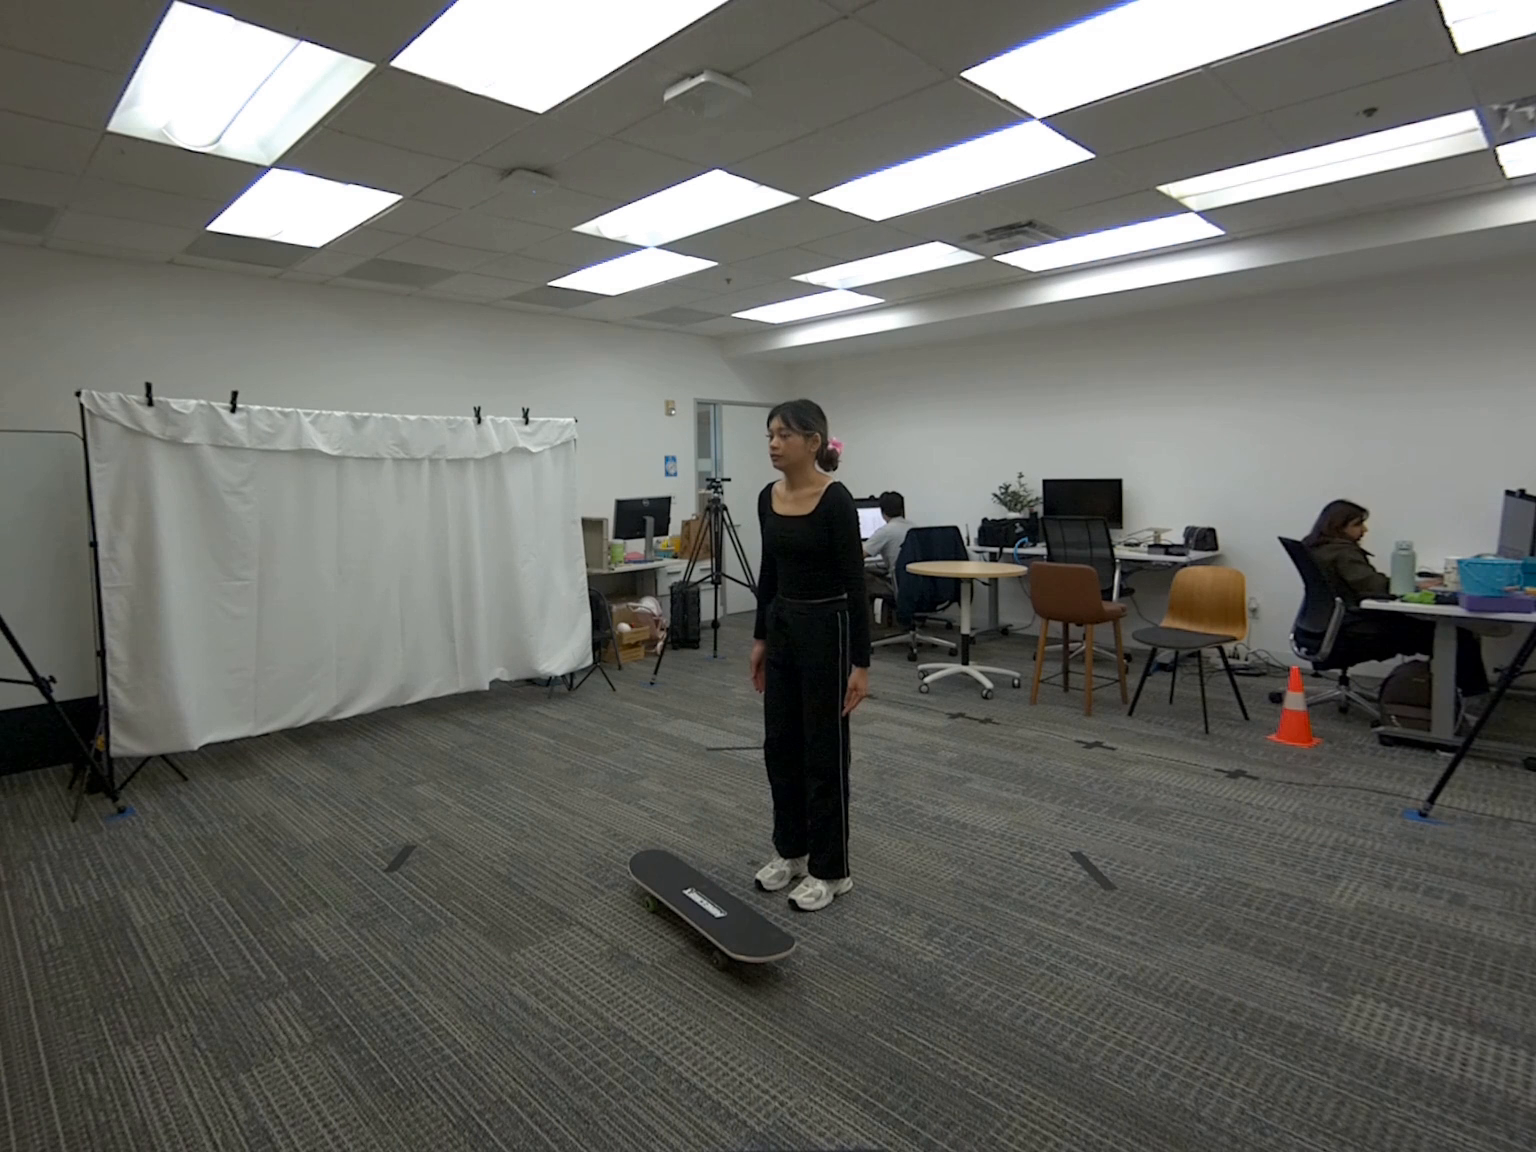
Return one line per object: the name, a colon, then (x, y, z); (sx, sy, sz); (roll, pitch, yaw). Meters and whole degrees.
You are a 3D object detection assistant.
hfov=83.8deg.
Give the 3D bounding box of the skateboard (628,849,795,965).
skateboard: (-0.191, 1.046, 2.640); (0.189, 0.110, 0.809); (-7, 9, -35)
